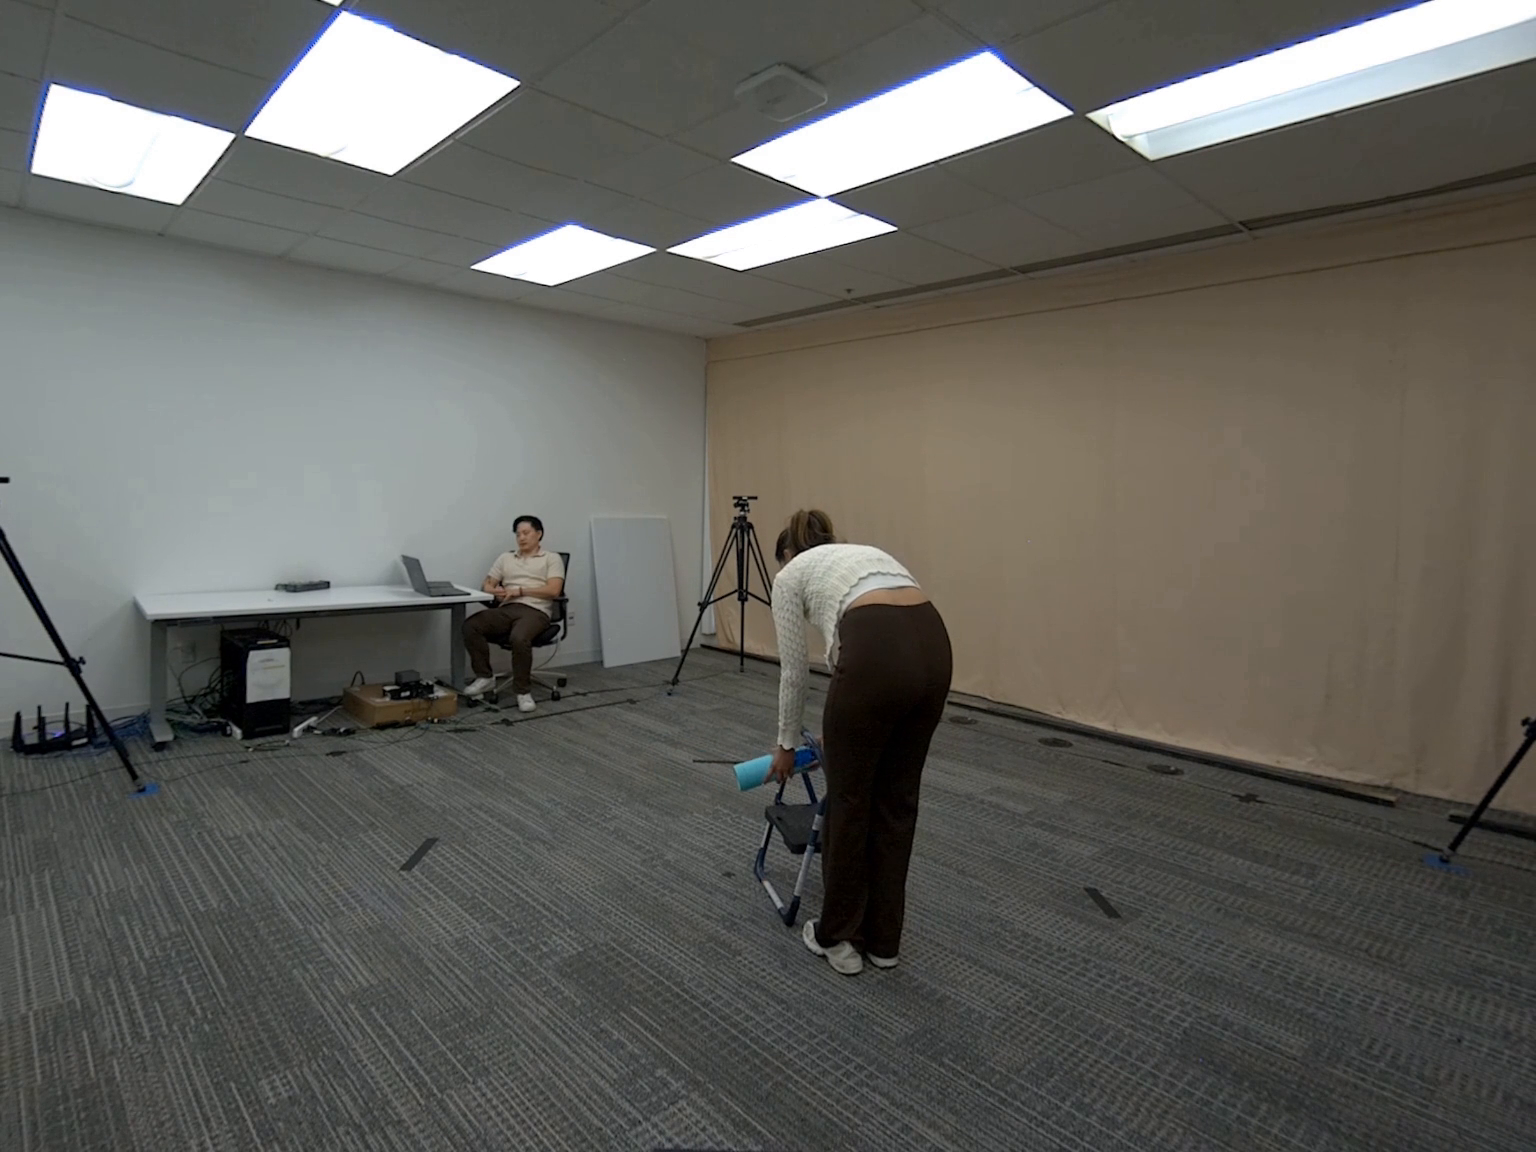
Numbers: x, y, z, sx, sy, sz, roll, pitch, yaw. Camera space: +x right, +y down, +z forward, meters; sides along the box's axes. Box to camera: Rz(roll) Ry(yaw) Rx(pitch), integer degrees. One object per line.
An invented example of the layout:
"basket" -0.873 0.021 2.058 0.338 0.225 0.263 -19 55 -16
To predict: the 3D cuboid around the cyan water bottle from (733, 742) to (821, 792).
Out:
"cyan water bottle" 0.021 0.646 2.854 0.282 0.092 0.093 -15 6 -5
